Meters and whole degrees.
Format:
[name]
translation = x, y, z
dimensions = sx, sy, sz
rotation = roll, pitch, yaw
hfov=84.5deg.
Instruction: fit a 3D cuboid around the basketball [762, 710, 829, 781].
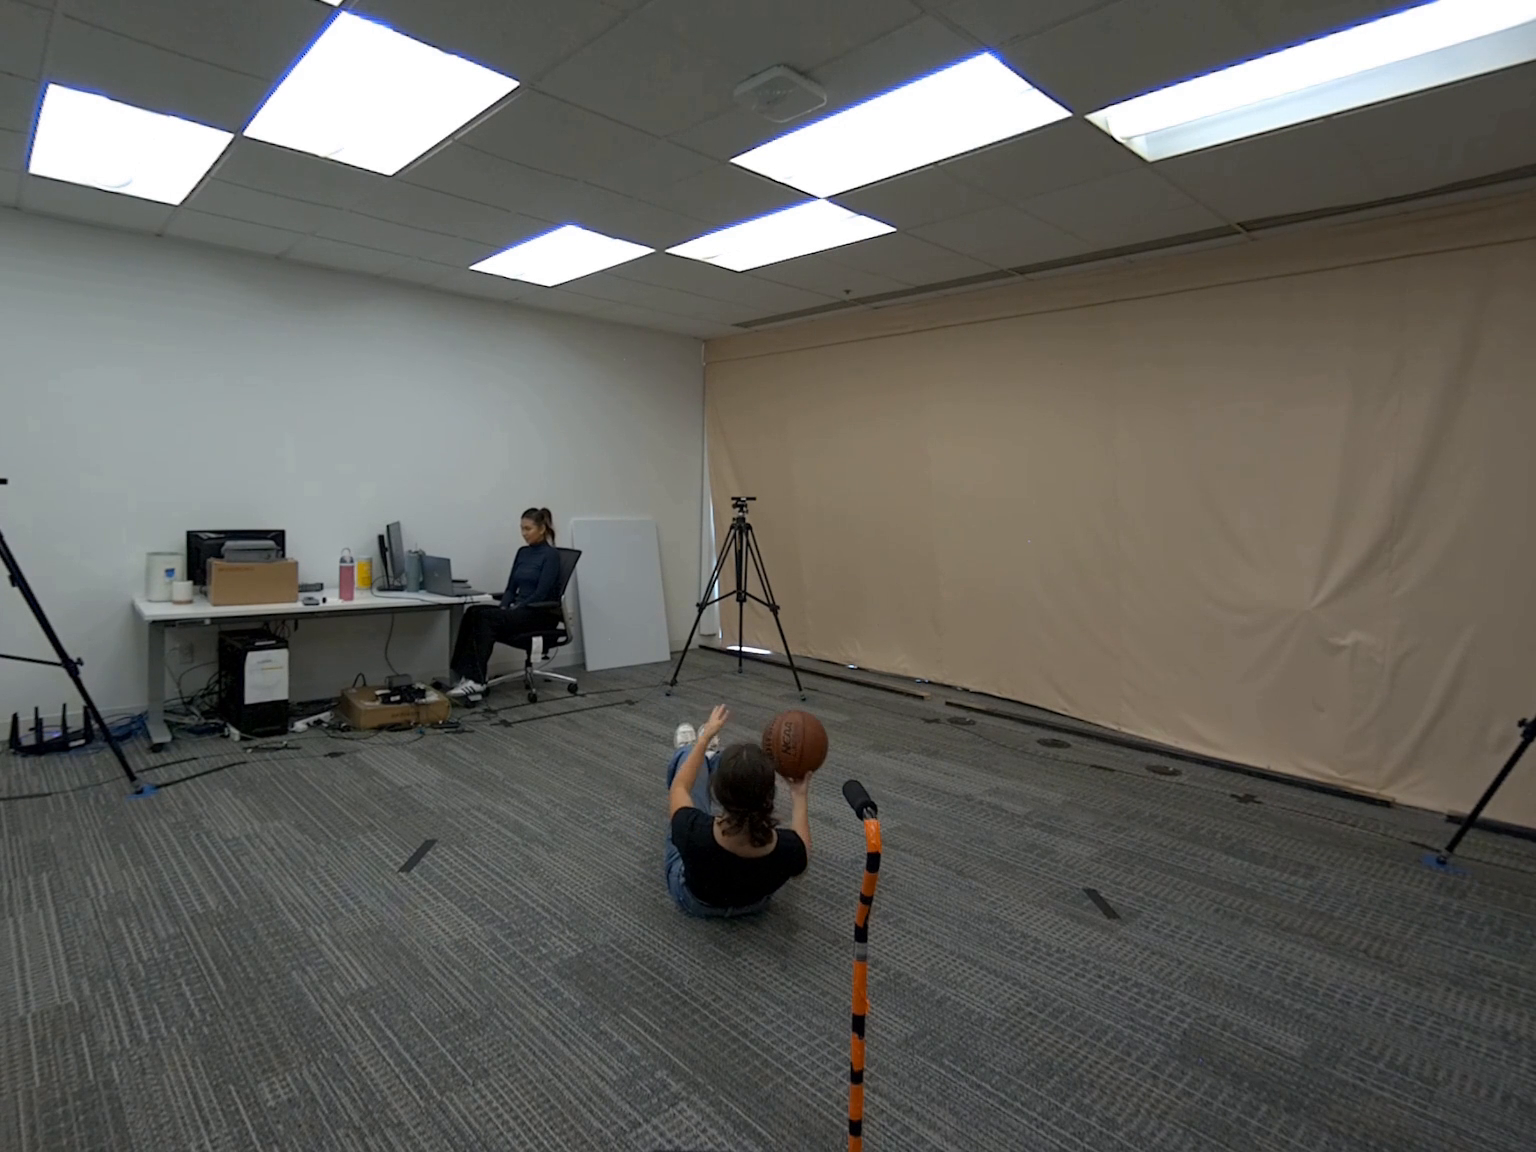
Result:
[basketball]
translation = 0.081, 0.606, 3.018
dimensions = 0.236, 0.235, 0.237
rotation = 1, 4, -1
